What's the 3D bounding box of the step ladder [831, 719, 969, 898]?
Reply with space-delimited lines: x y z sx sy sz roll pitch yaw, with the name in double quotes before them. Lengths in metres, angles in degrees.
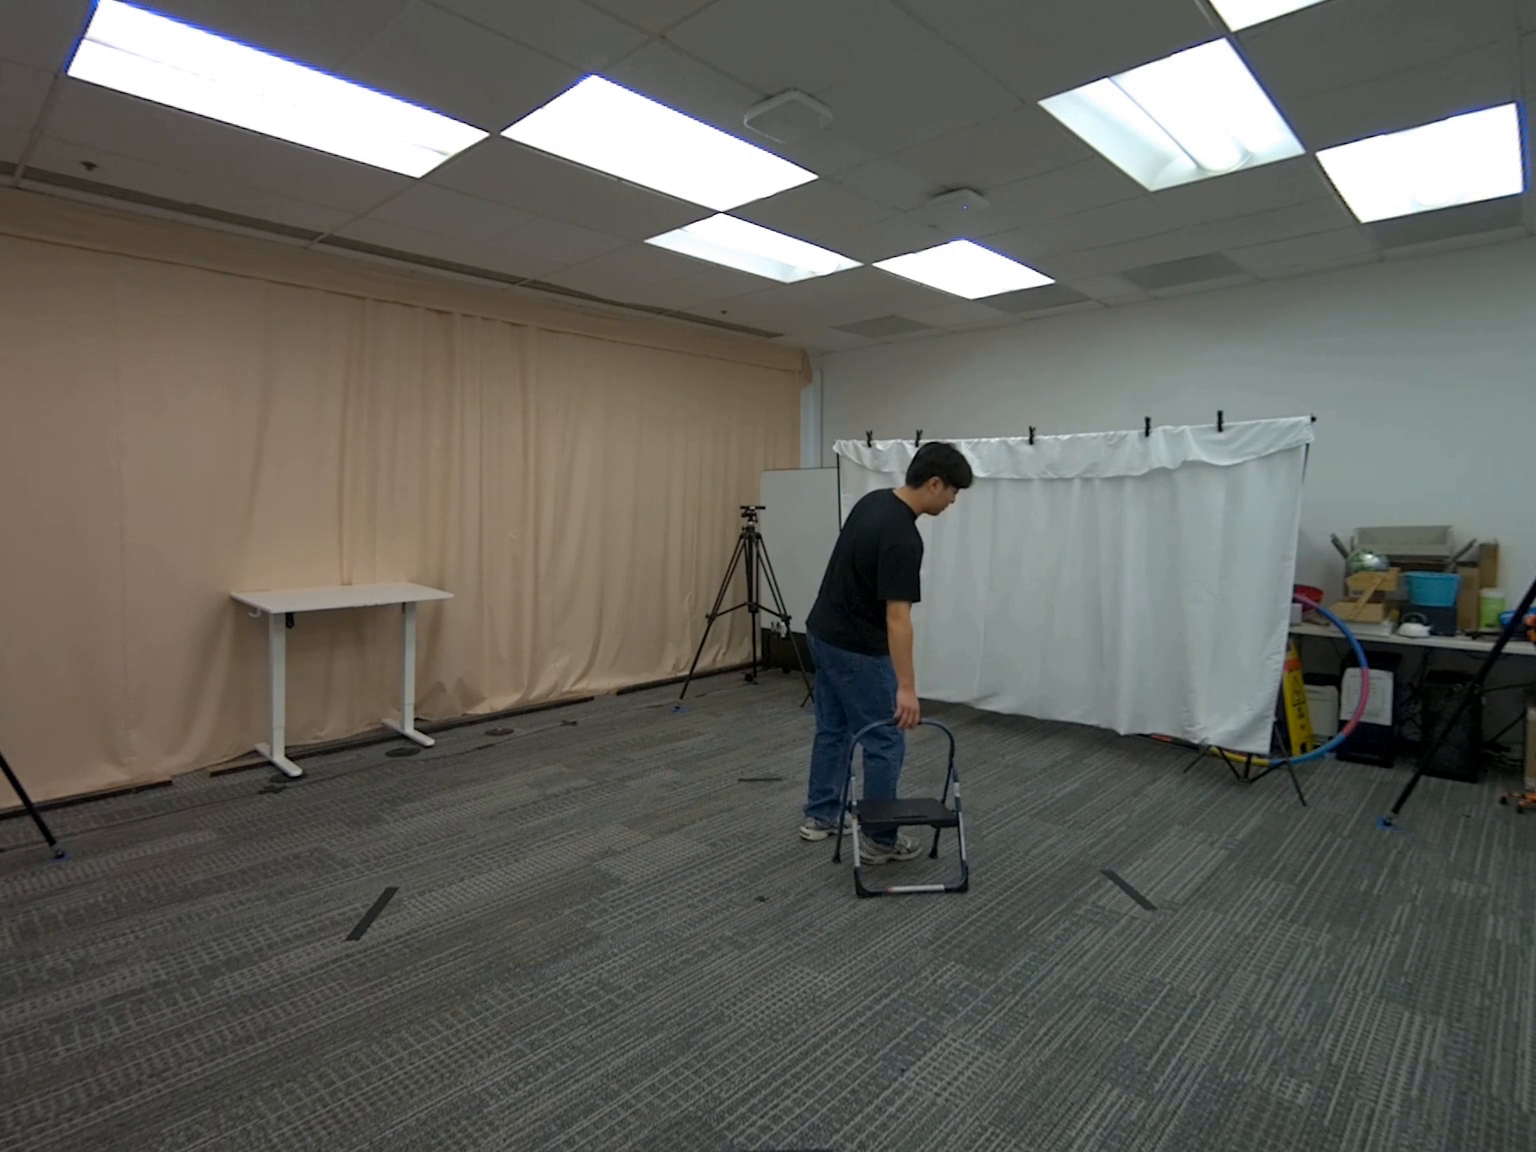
"step ladder" 0.497 0.828 3.157 0.427 0.605 0.353 0 2 -9
